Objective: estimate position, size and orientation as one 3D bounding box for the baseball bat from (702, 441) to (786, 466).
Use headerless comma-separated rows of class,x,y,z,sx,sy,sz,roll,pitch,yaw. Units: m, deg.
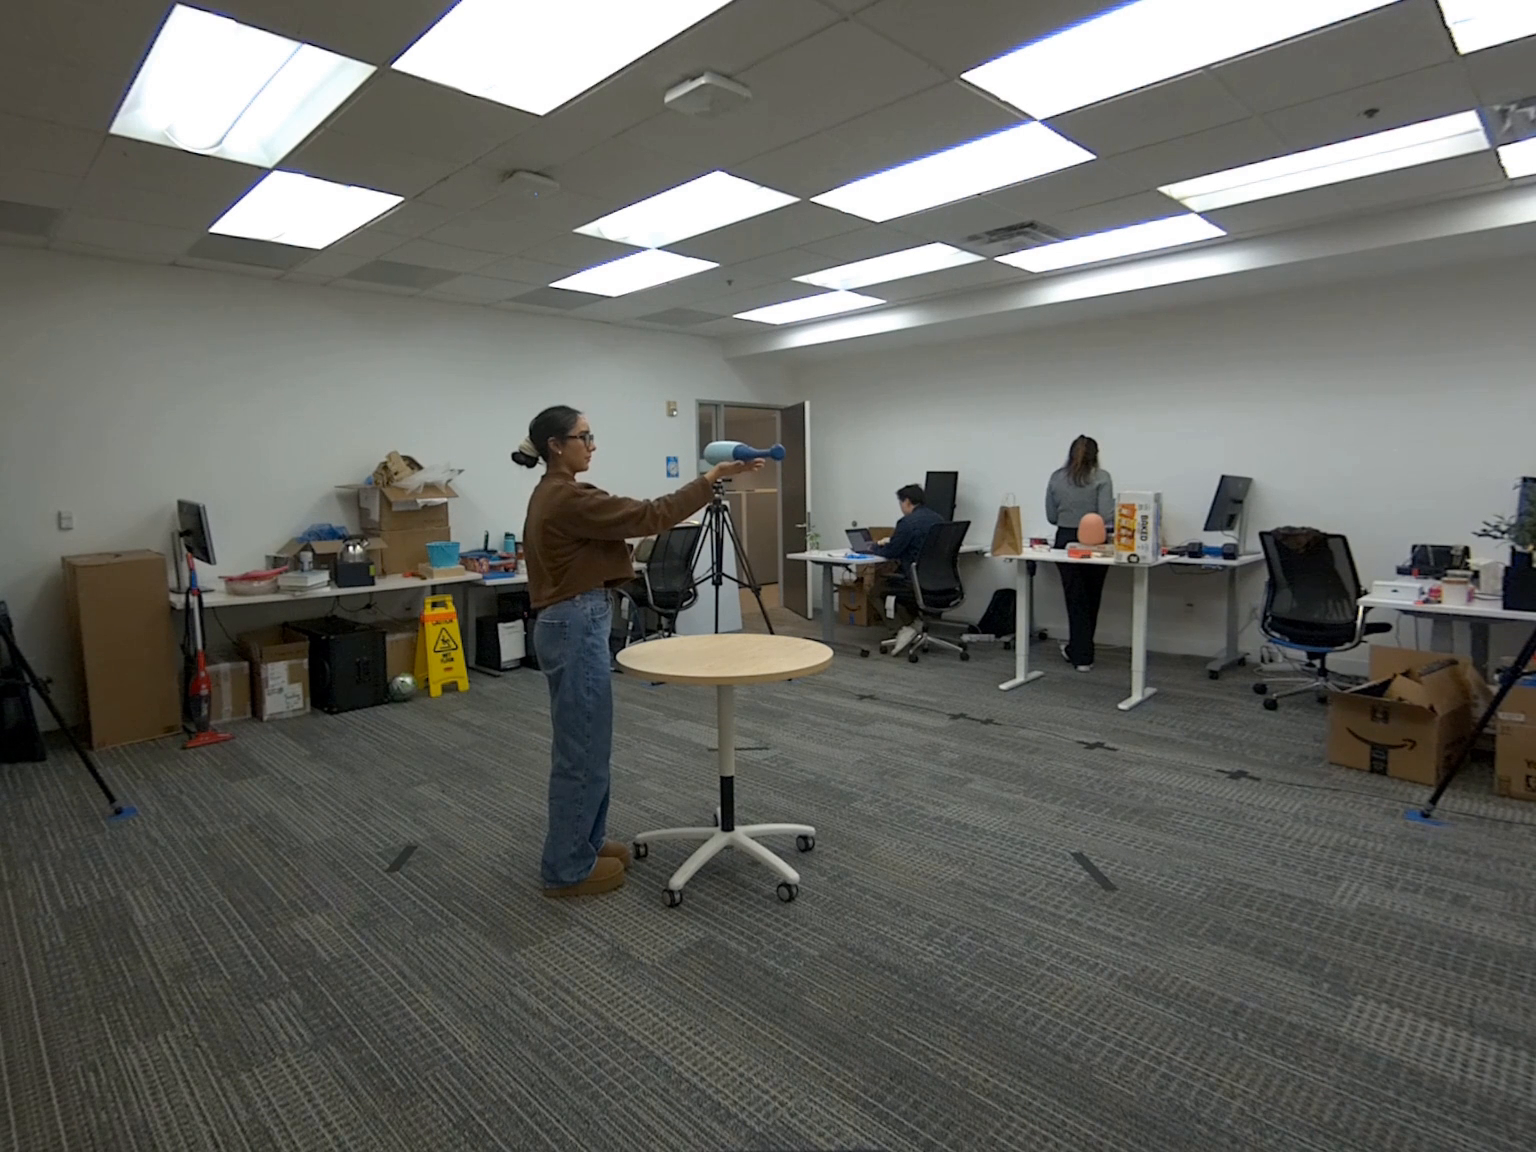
baseball bat,-0.079,-0.411,2.876,0.087,0.088,0.557,-3,8,-24
